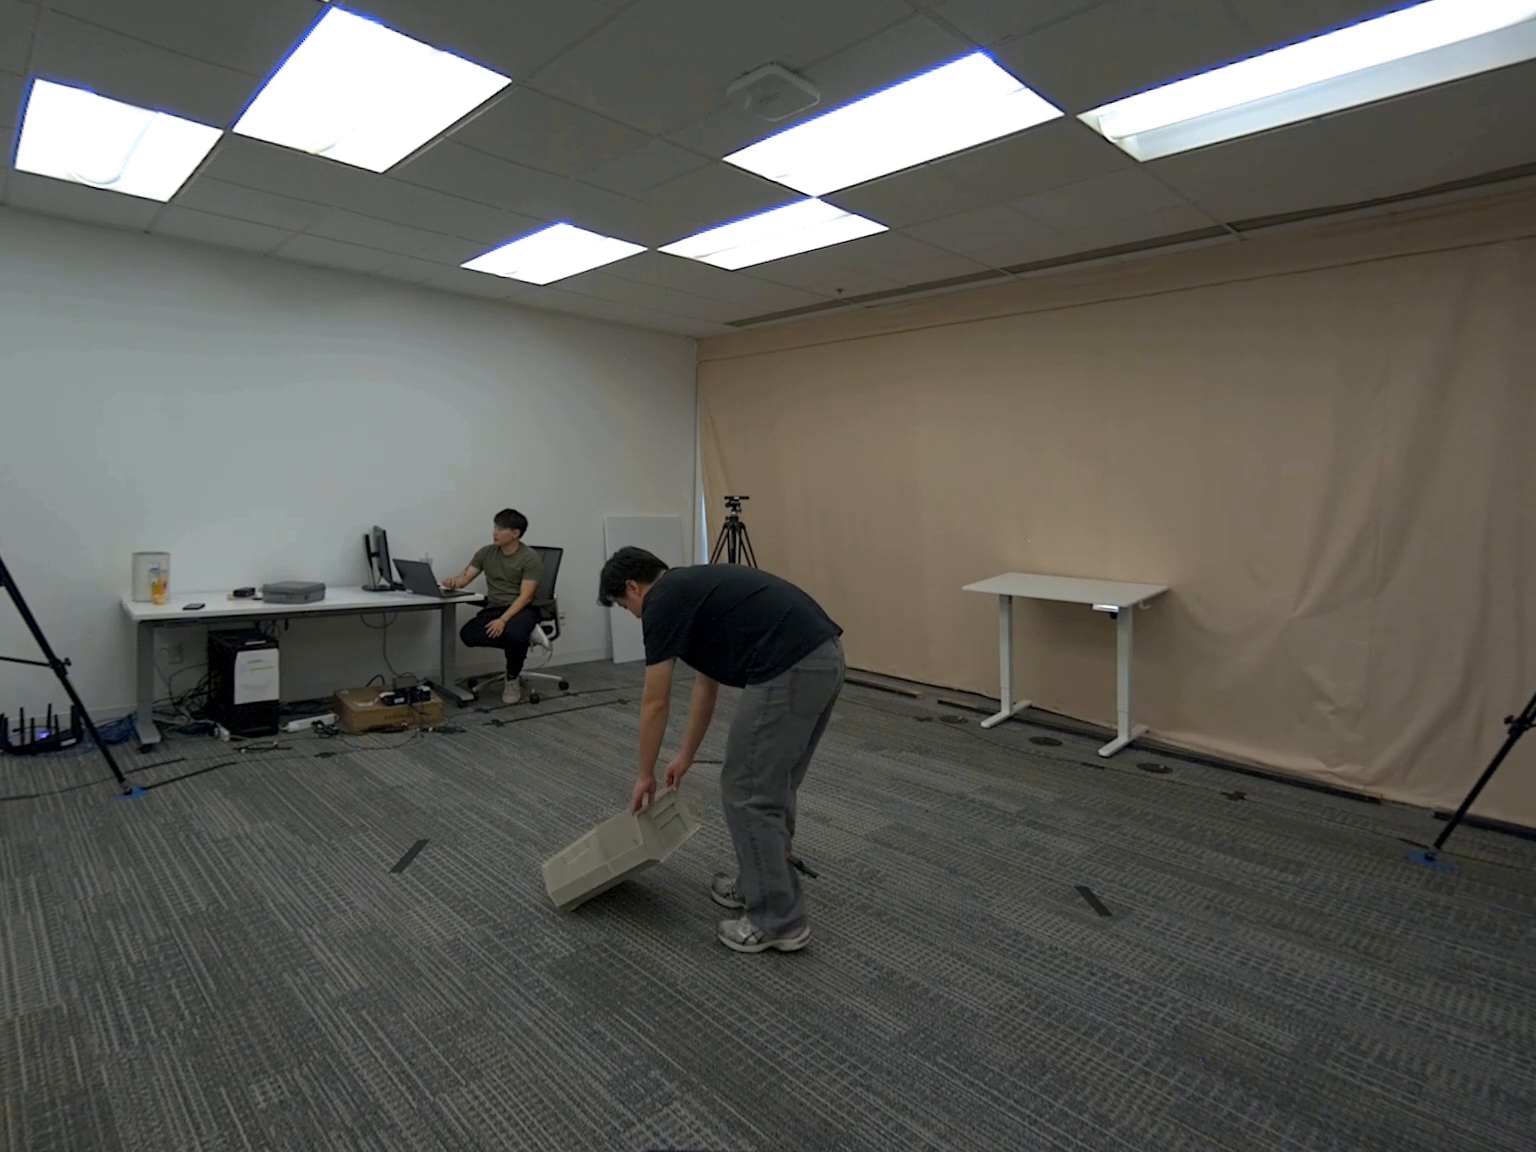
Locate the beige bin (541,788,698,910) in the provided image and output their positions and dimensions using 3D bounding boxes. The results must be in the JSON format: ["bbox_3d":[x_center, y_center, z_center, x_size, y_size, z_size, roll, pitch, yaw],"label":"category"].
[{"bbox_3d":[-0.499,0.933,2.873,0.424,0.191,0.372,-33,-8,19],"label":"beige bin"}]
